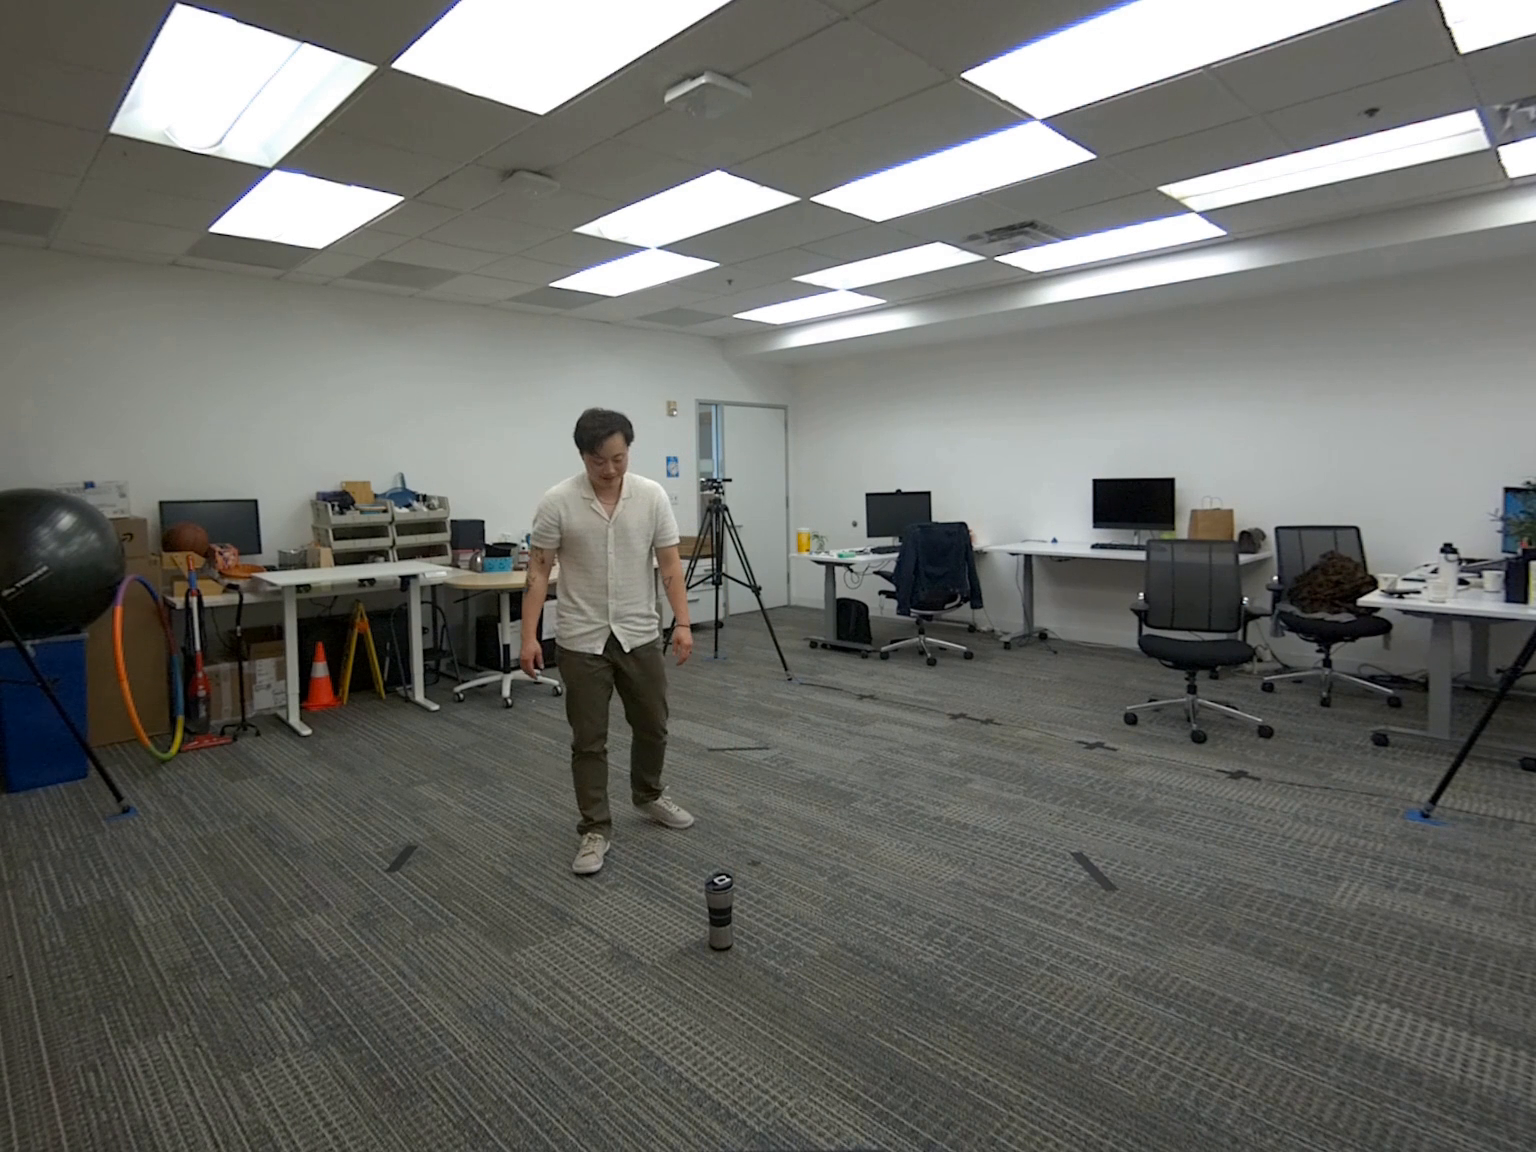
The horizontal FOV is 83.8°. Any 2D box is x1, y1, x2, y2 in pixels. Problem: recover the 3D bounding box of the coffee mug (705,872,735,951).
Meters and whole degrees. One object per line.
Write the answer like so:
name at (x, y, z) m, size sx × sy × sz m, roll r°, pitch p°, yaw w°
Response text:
coffee mug at (-0.127, 1.013, 2.572) m, size 0.090 × 0.202 × 0.119 m, roll -3°, pitch 6°, yaw 37°
